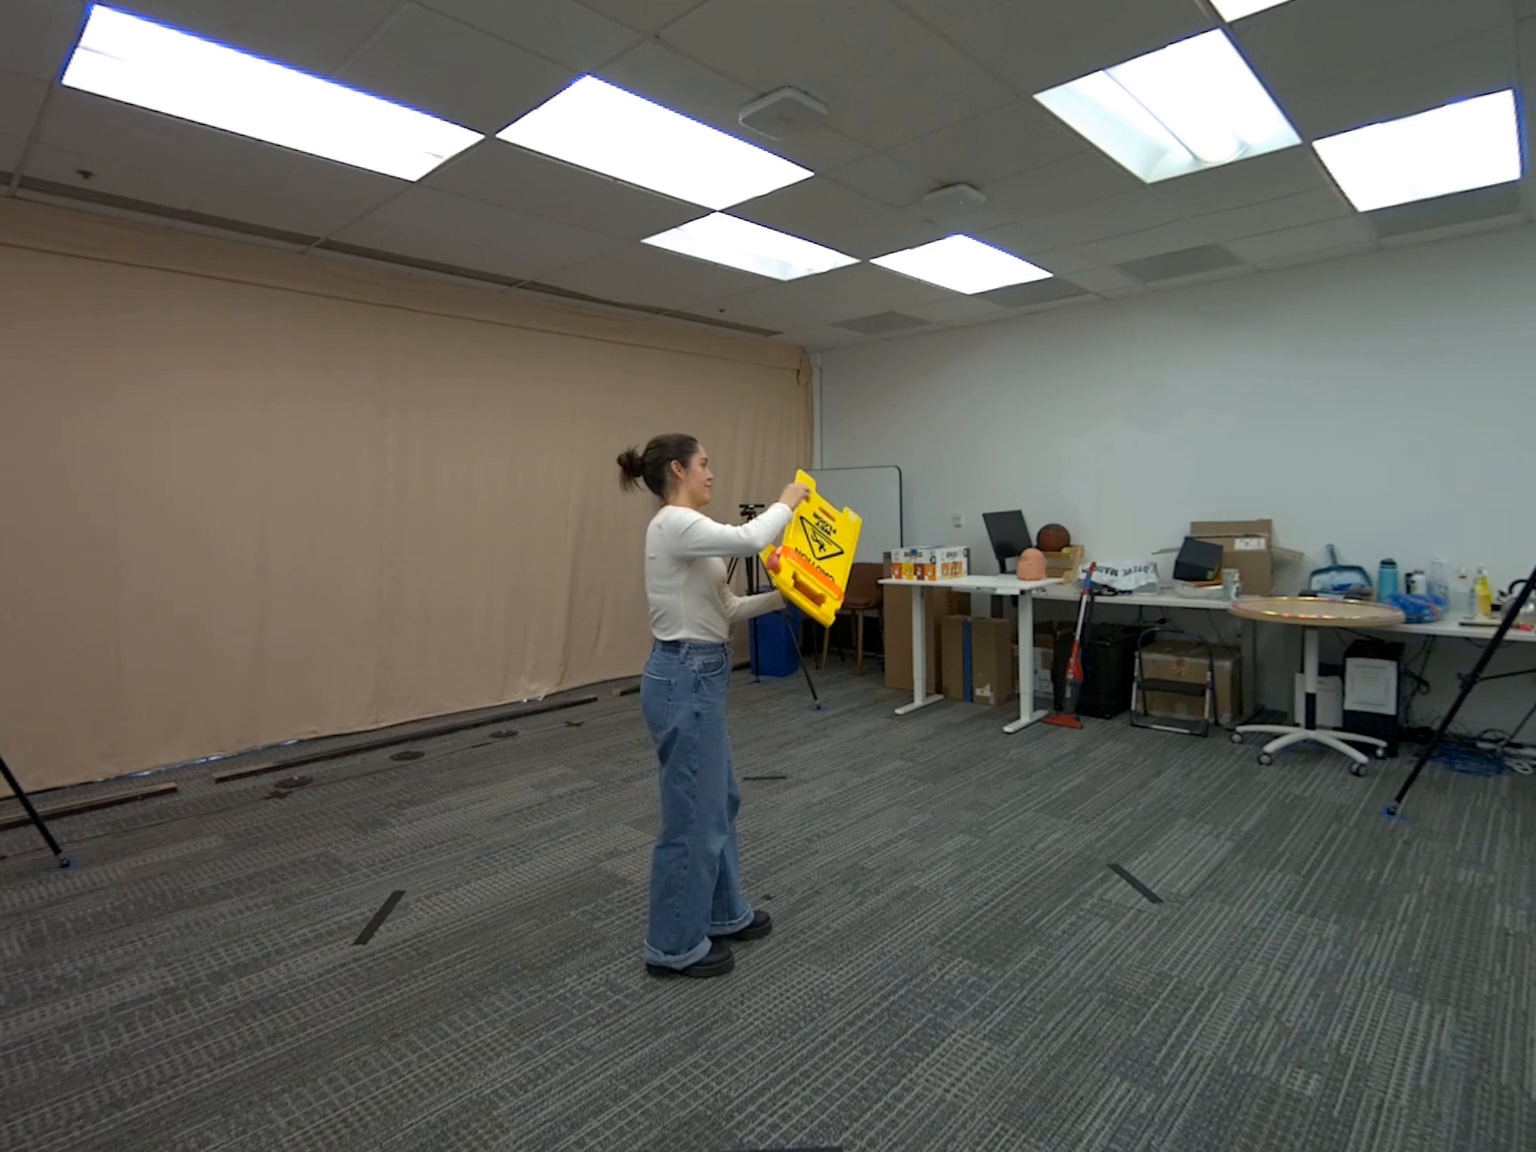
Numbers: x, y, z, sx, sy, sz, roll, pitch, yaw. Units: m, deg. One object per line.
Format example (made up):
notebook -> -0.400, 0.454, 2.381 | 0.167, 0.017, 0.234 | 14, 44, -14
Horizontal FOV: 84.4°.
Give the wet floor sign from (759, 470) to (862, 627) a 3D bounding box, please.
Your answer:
wet floor sign -> 0.114, -0.052, 2.554 | 0.279, 0.291, 0.651 | 38, 19, -11
